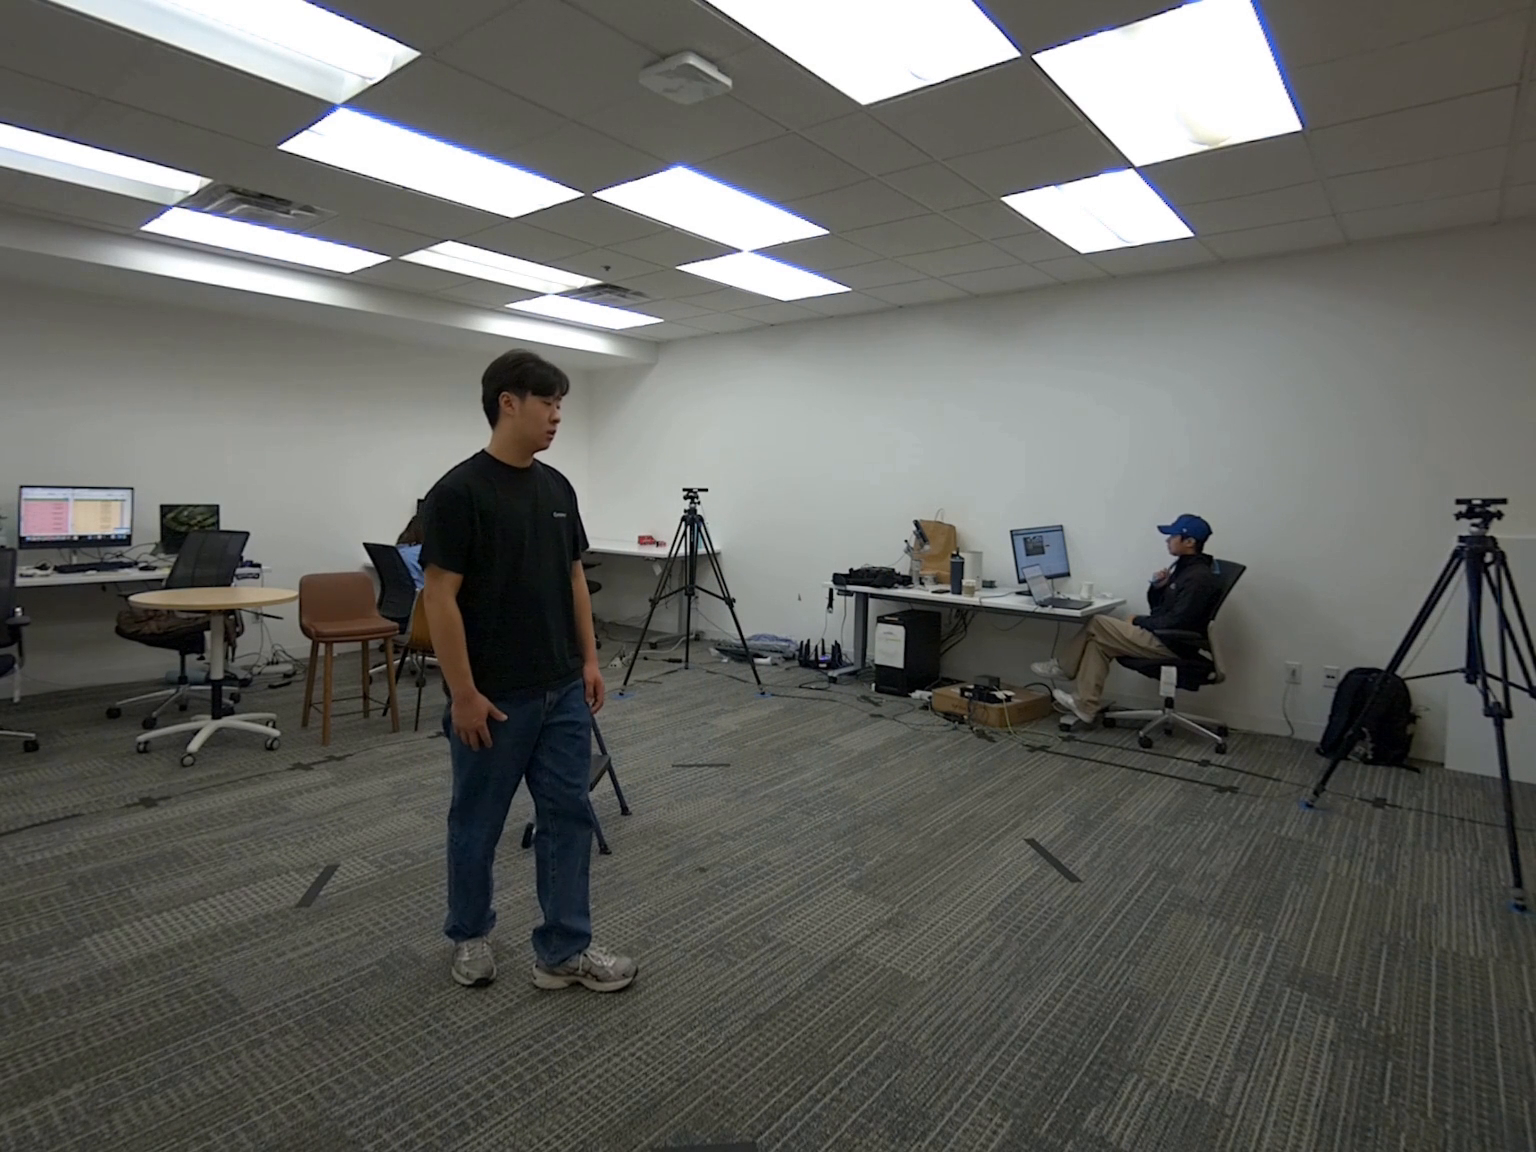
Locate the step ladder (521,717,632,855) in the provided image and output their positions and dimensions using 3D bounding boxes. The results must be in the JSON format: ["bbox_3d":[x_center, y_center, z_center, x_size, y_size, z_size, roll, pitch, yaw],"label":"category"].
[{"bbox_3d":[-0.766,0.725,3.432,0.350,0.605,0.430,2,3,2],"label":"step ladder"}]
